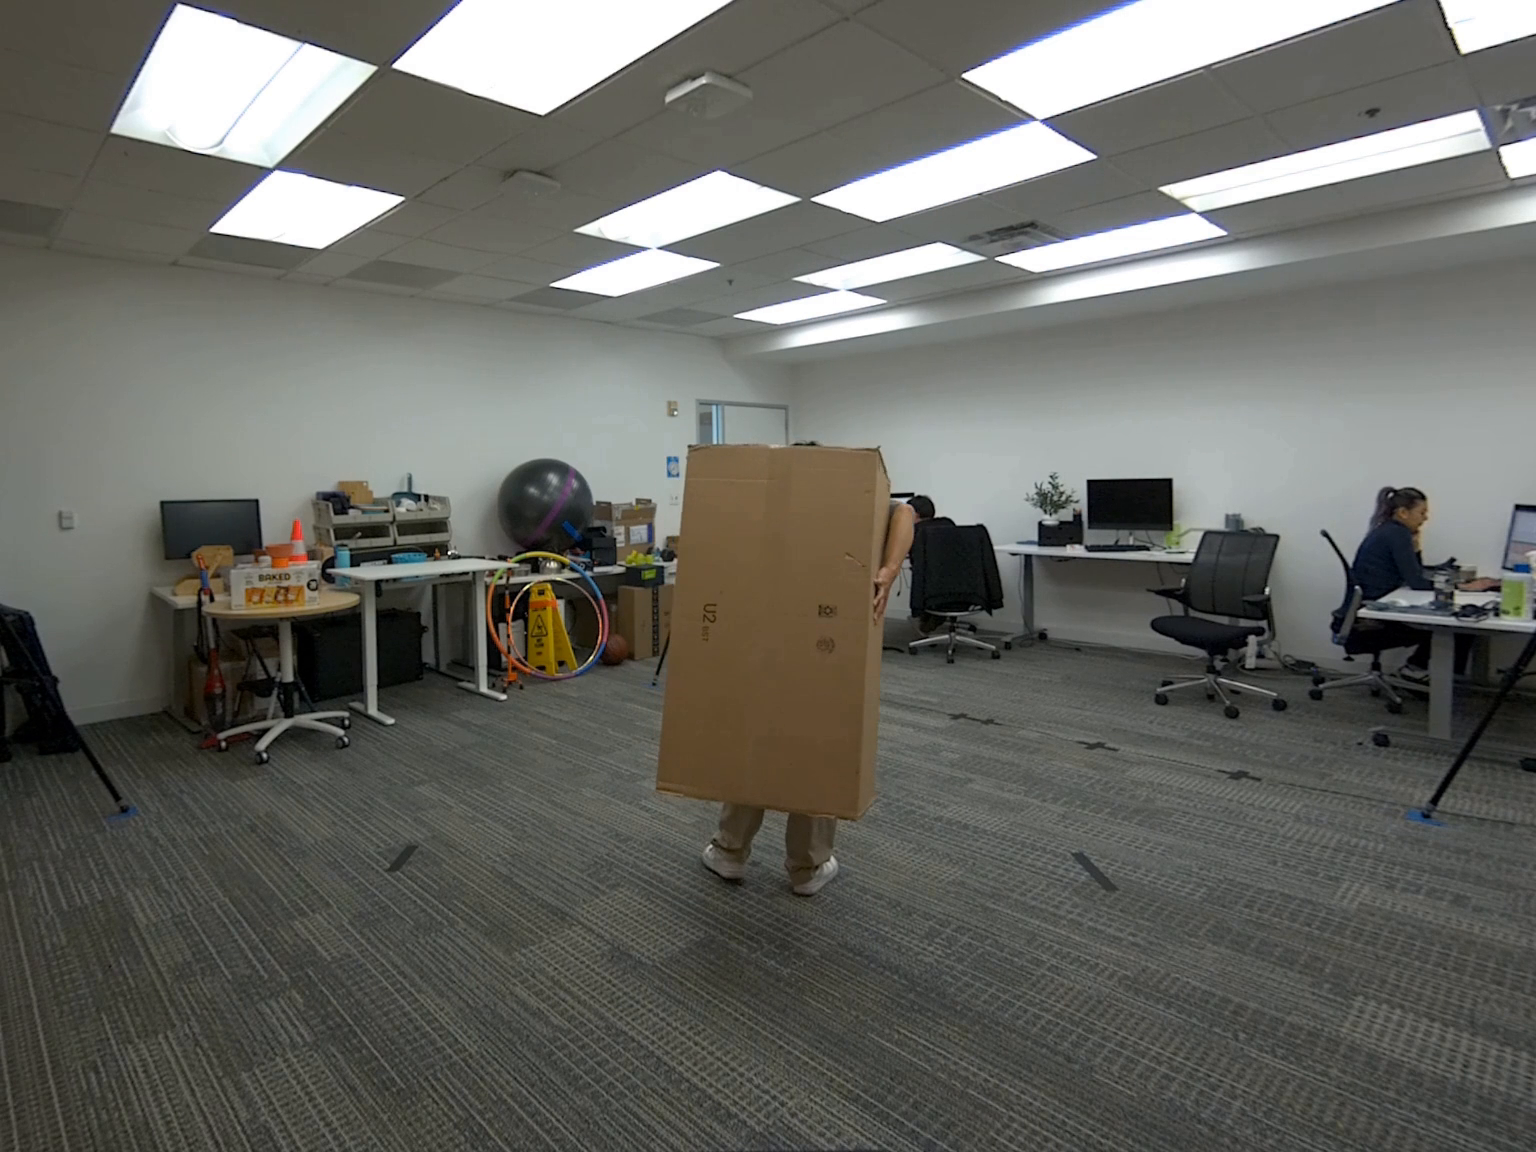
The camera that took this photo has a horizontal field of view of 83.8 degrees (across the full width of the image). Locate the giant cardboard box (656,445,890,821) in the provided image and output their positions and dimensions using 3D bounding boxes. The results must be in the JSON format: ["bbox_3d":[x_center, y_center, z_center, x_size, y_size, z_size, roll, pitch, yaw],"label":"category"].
[{"bbox_3d":[0.044,0.153,2.608,0.586,1.034,0.417,2,-9,14],"label":"giant cardboard box"}]
